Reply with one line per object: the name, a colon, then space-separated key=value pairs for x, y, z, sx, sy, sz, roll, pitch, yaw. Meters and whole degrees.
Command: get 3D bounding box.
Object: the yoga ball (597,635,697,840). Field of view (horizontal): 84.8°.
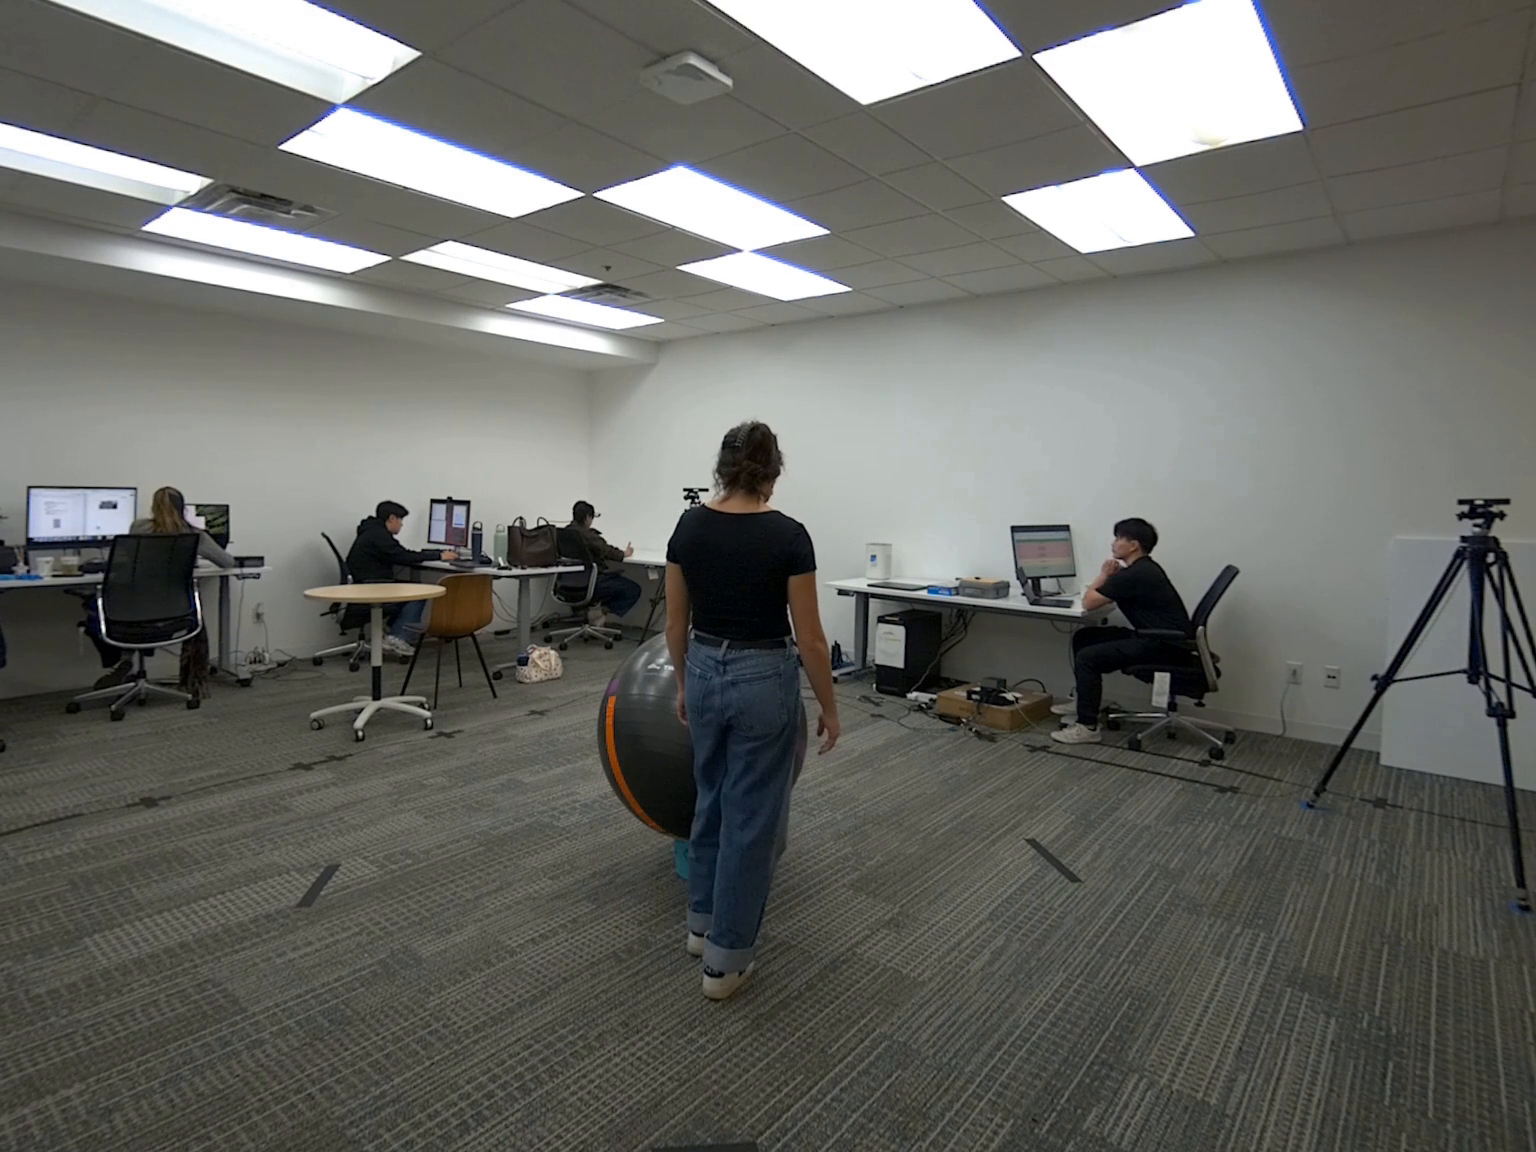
yoga ball: x=-0.251 y=0.560 z=3.096 sx=0.757 sy=0.756 sz=0.762 roll=1 pitch=4 yaw=-2
